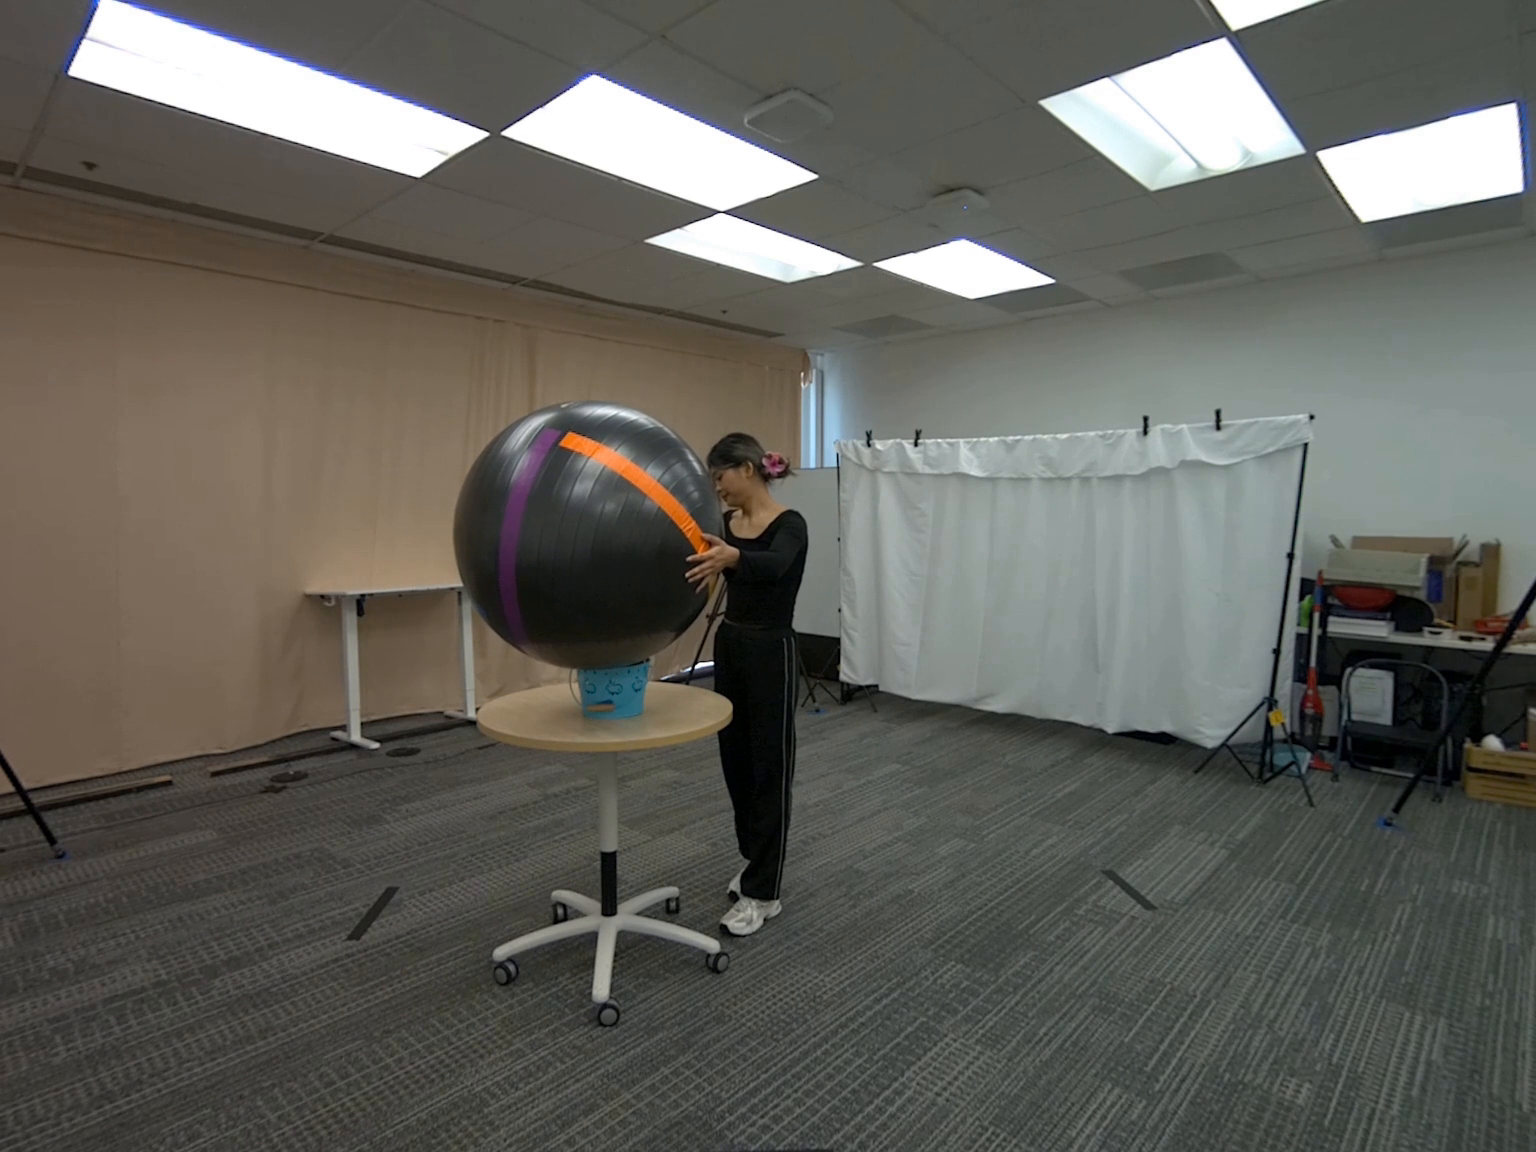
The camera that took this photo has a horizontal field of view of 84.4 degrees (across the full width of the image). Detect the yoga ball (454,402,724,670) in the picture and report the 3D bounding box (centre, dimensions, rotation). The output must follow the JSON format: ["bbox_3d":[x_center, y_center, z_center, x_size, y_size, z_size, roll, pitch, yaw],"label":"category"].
[{"bbox_3d":[-0.509,-0.109,2.388,0.757,0.756,0.760,0,4,-2],"label":"yoga ball"}]
